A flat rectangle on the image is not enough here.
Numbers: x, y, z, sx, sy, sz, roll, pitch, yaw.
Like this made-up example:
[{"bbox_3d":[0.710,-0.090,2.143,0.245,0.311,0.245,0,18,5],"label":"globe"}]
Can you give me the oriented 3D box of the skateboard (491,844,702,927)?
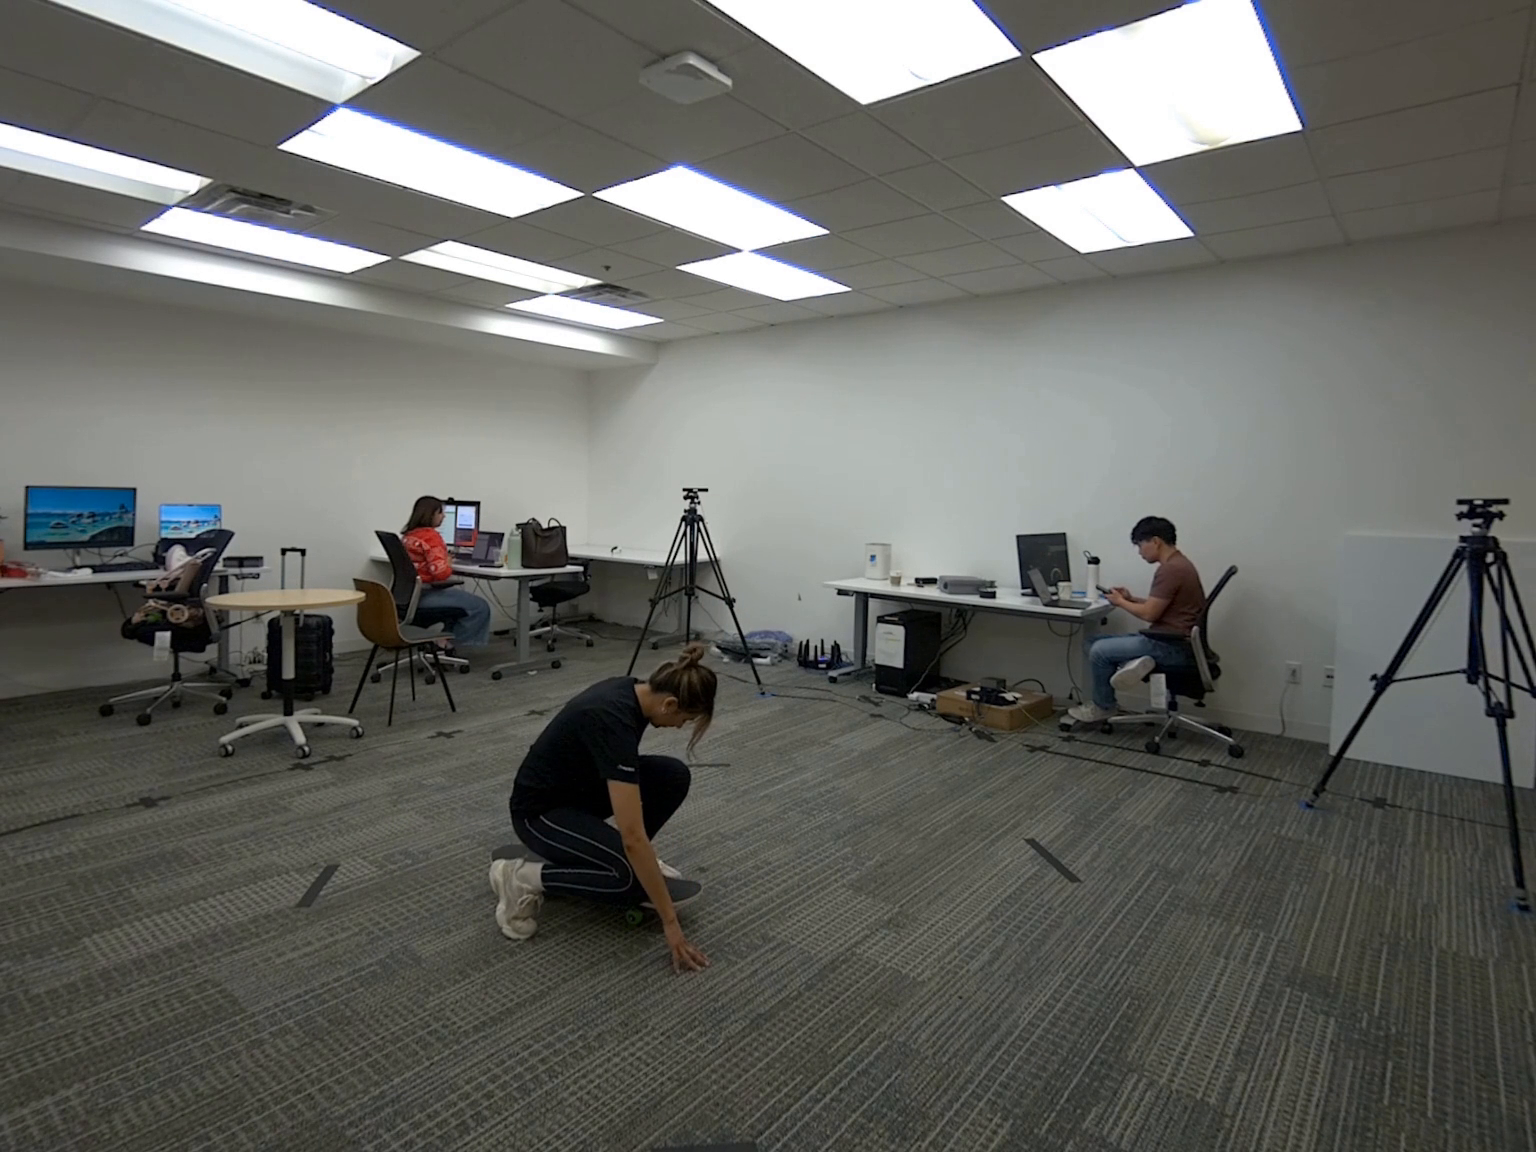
[{"bbox_3d":[-0.596,1.026,2.845,0.804,0.110,0.190,3,6,22],"label":"skateboard"}]
